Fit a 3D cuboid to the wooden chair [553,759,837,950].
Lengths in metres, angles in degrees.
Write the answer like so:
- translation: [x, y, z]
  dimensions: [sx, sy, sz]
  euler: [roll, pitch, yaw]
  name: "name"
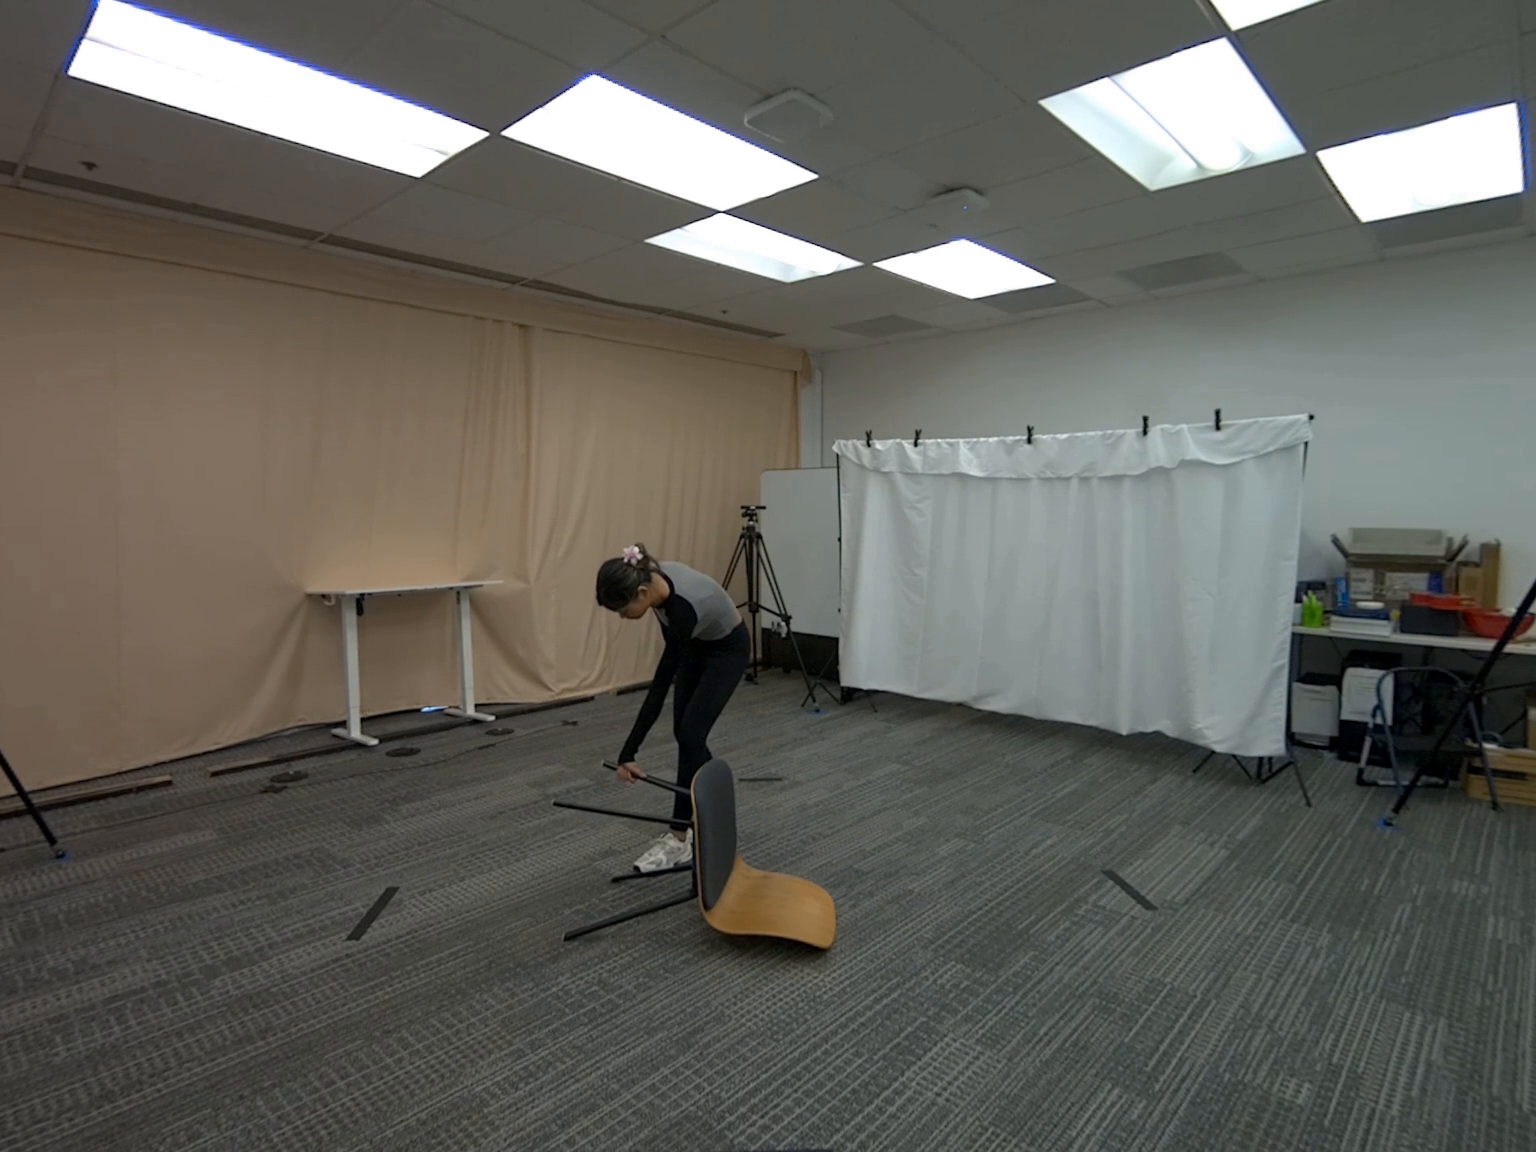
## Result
- translation: [-0.208, 0.902, 2.806]
  dimensions: [0.891, 0.522, 0.472]
  euler: [2, 4, 14]
  name: "wooden chair"
